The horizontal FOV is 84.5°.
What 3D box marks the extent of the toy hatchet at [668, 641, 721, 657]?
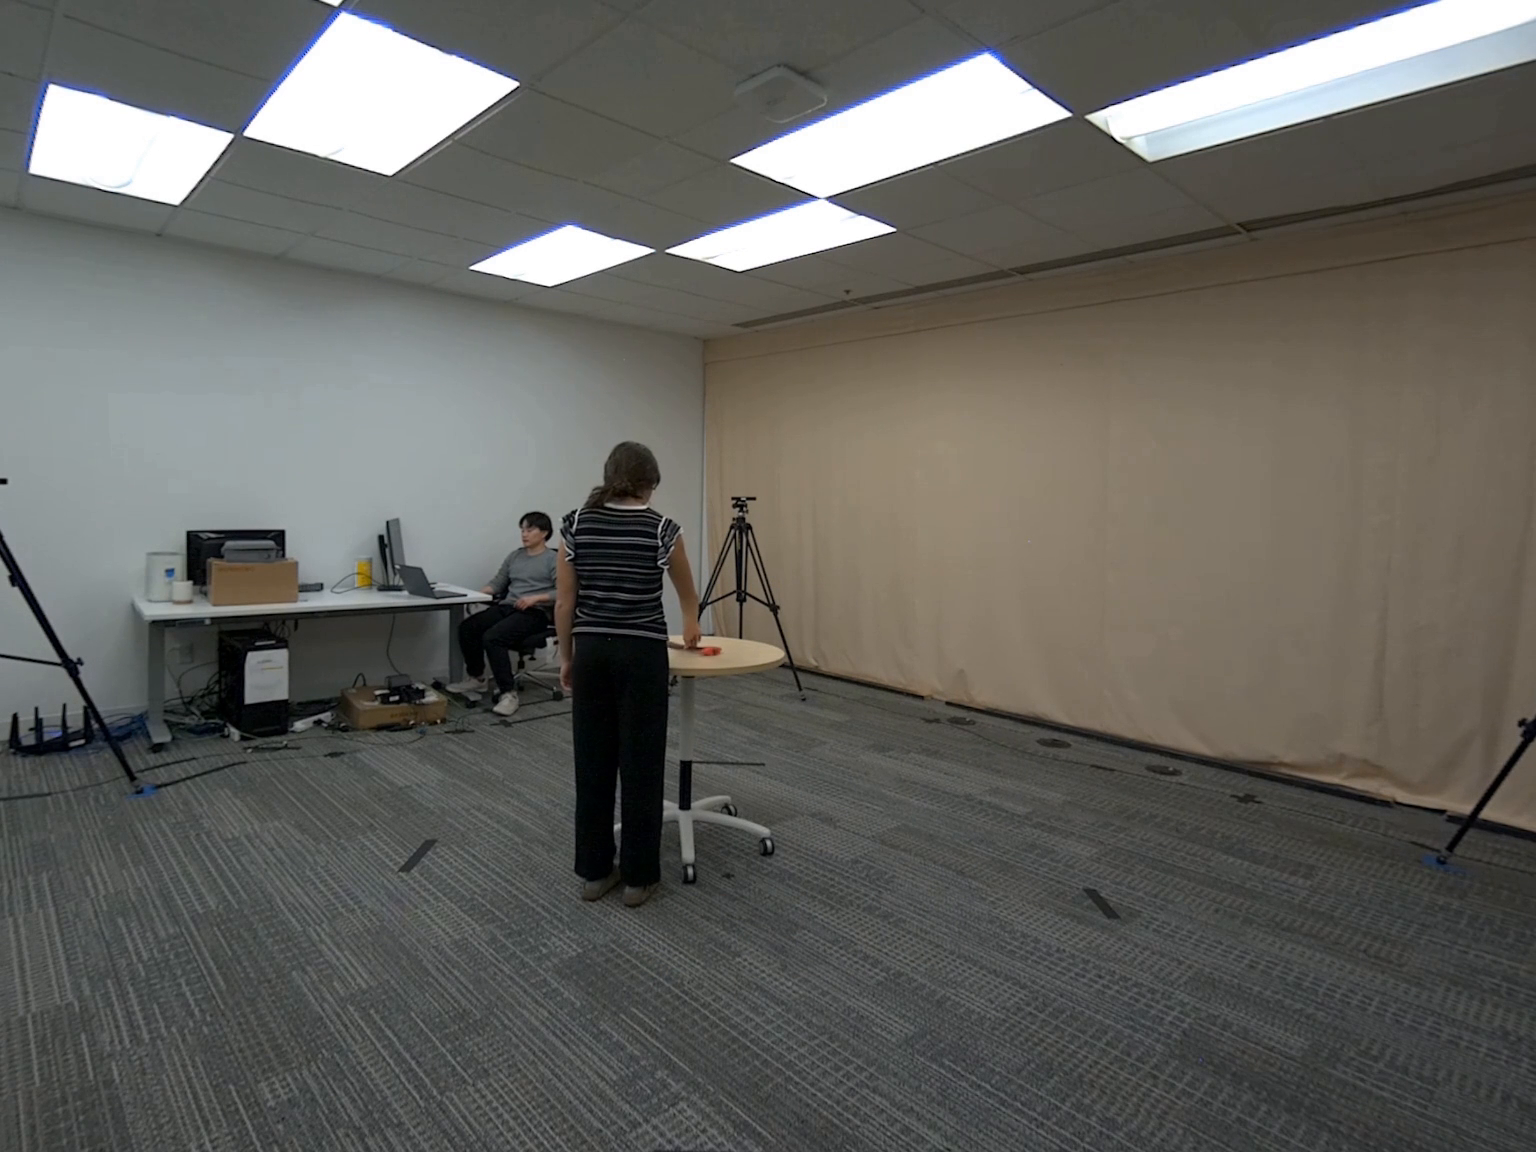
[{"bbox_3d":[-0.307,0.287,3.363,0.128,0.029,0.277,-1,4,-38],"label":"toy hatchet"}]
